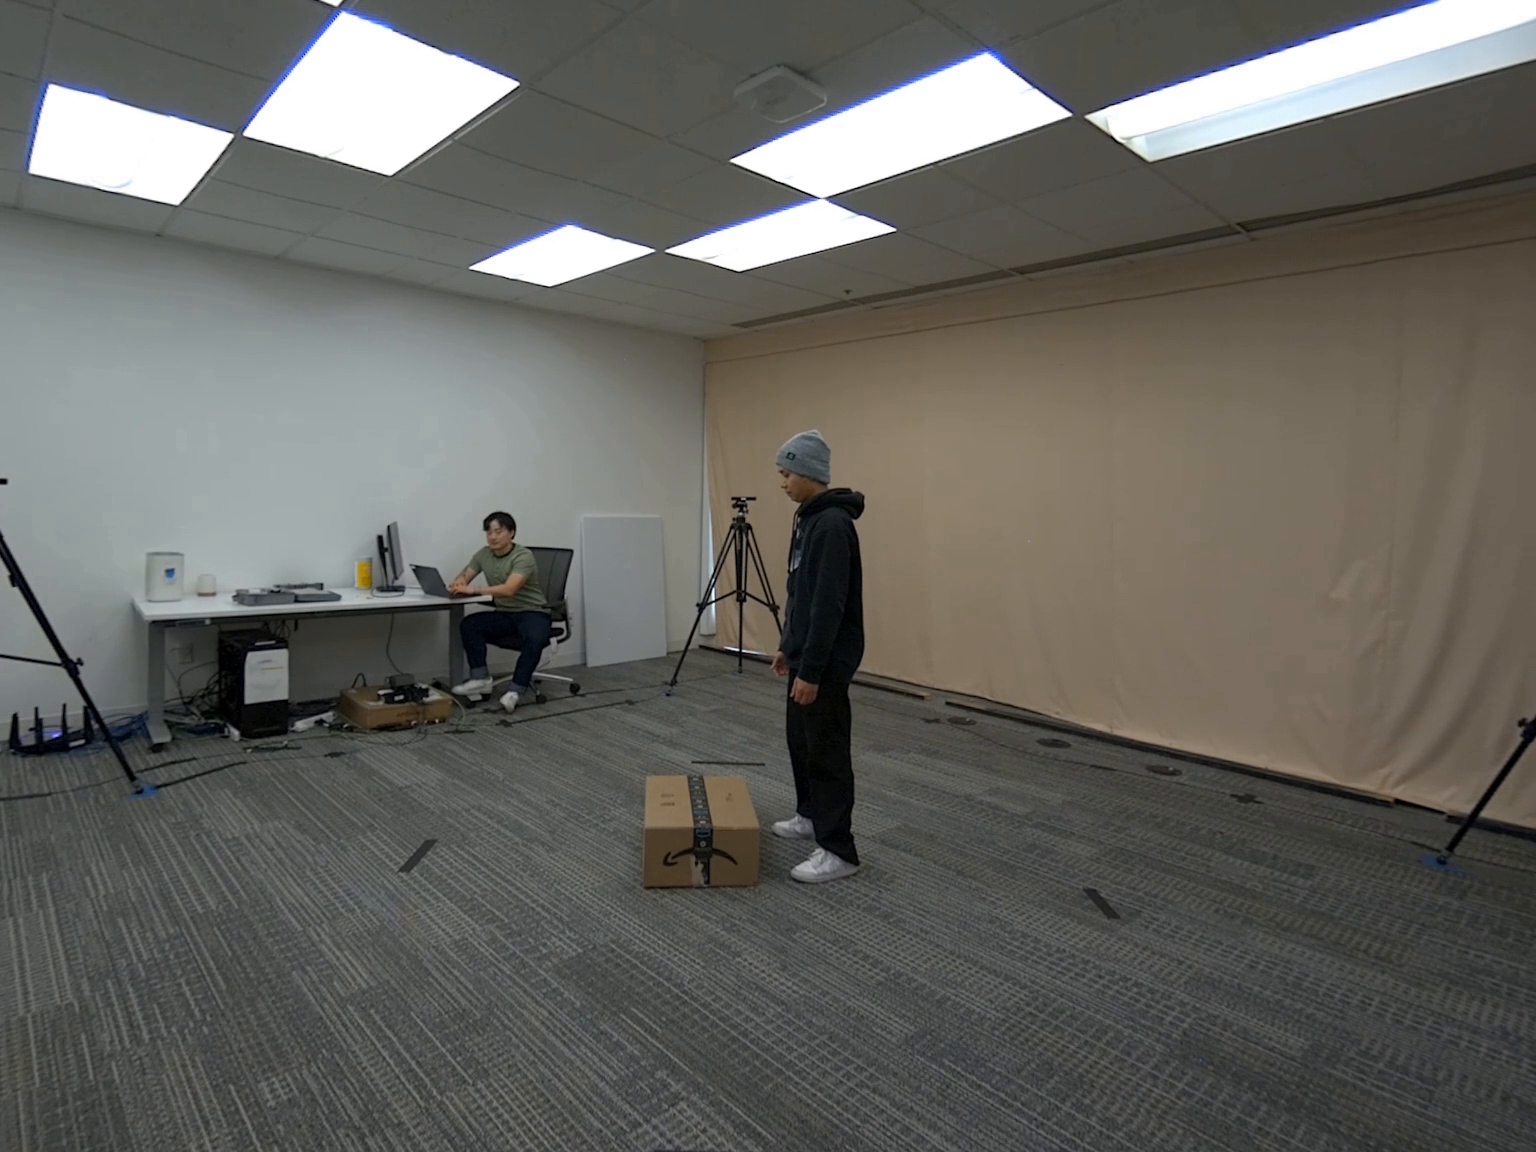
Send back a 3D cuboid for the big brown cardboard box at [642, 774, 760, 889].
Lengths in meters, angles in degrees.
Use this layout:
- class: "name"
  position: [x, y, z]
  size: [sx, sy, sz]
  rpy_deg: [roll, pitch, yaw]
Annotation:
- class: "big brown cardboard box"
  position: [-0.278, 0.974, 3.276]
  size: [0.415, 0.232, 0.593]
  rpy_deg: [2, 4, -7]
